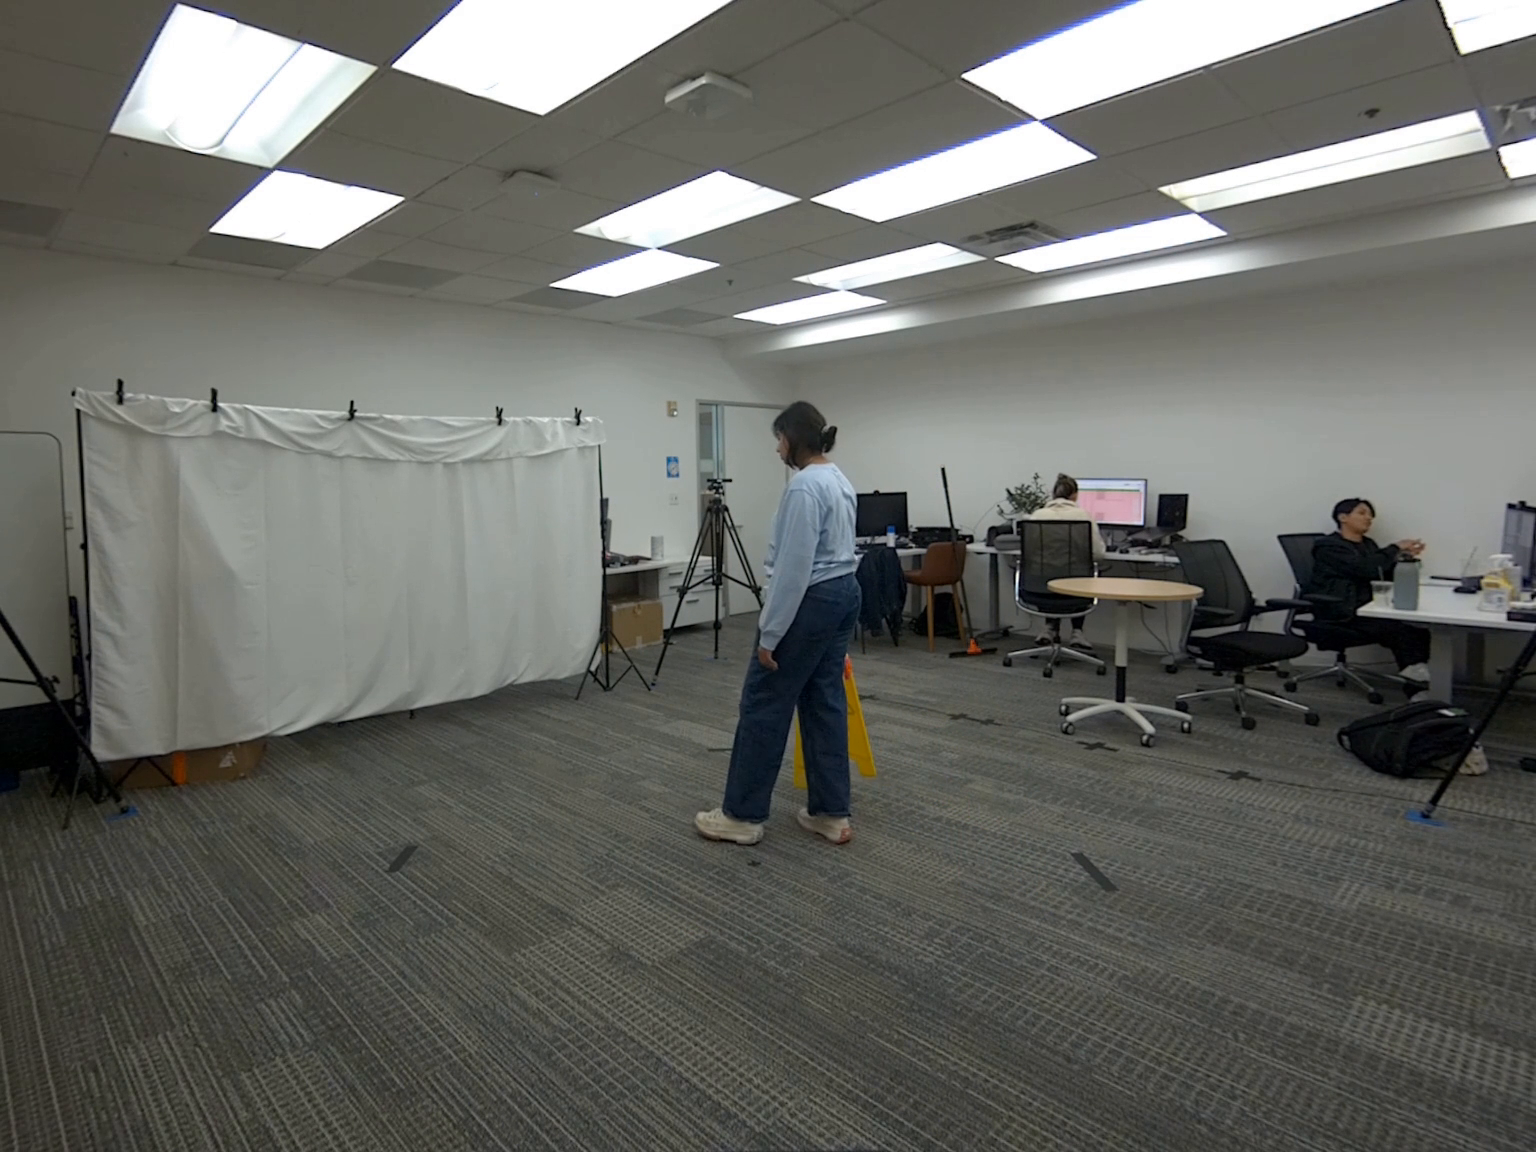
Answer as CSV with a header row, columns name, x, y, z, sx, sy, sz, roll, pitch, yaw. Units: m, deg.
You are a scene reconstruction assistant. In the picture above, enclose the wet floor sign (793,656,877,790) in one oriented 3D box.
name,x,y,z,sx,sy,sz,roll,pitch,yaw
wet floor sign,0.265,0.576,3.697,0.290,0.644,0.283,-2,4,37
